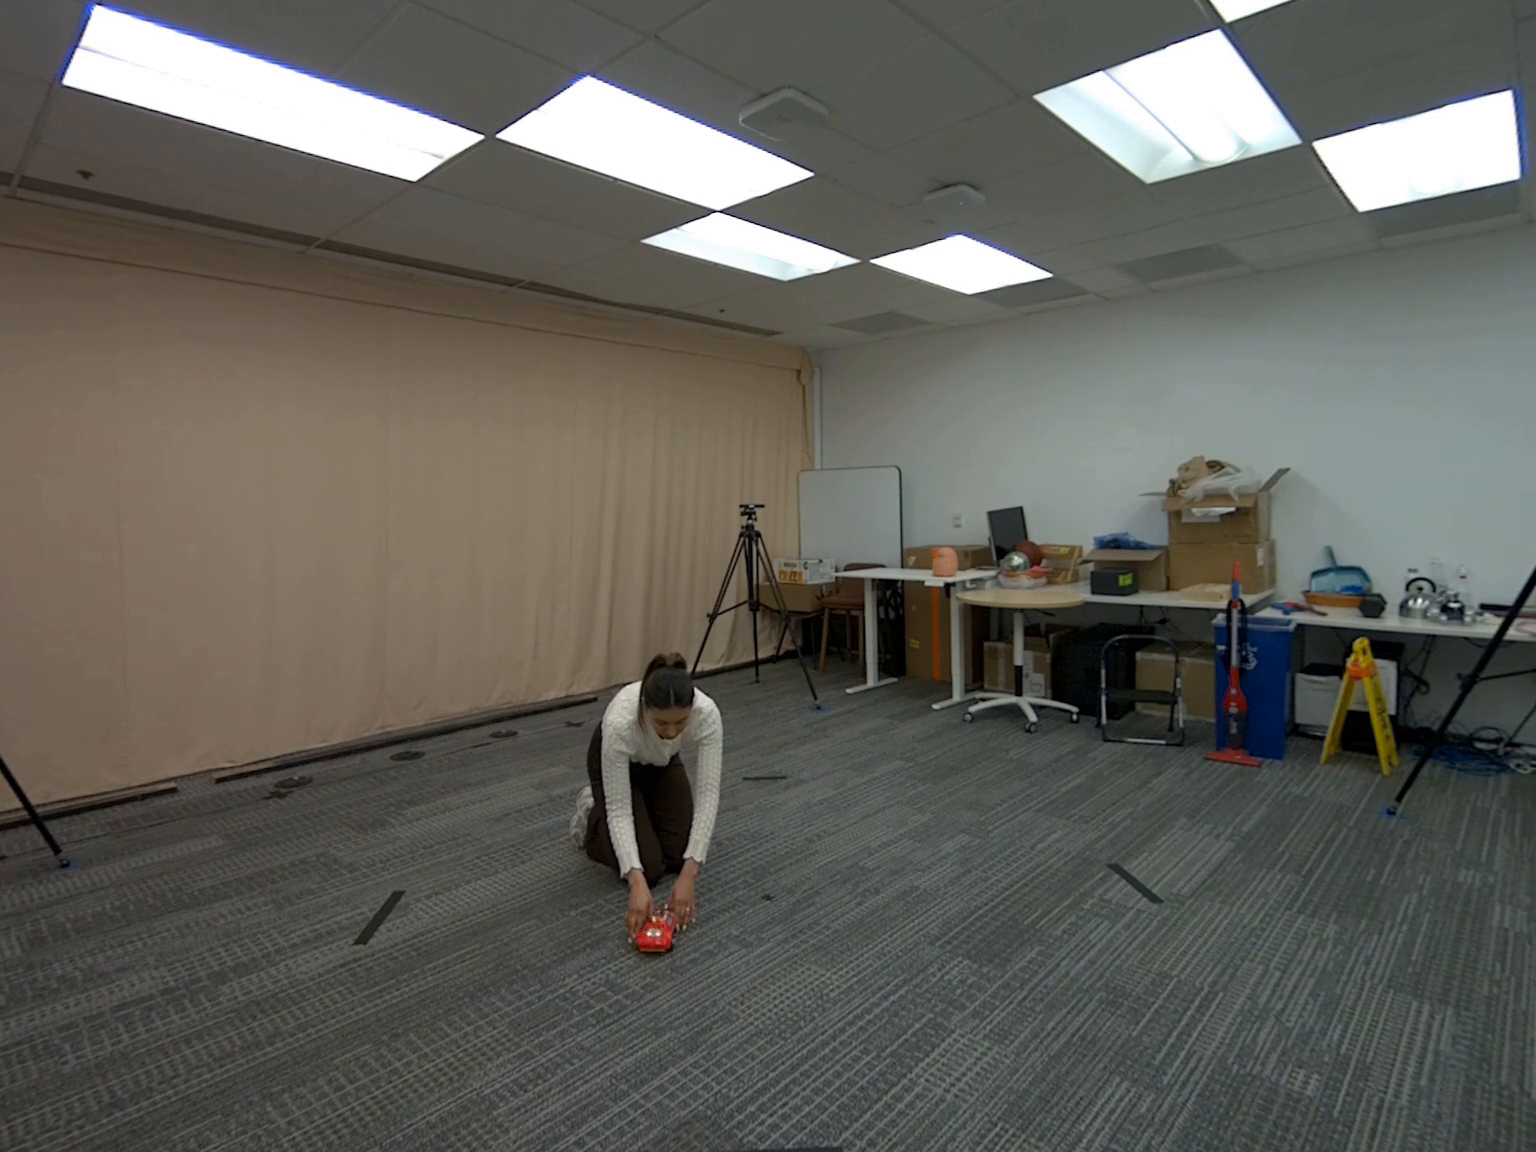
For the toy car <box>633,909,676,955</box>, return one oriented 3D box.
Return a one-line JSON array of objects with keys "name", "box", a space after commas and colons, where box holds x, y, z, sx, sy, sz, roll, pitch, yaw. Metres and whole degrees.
[{"name": "toy car", "box": [-0.350, 1.134, 2.699, 0.131, 0.083, 0.251, 2, -6, 7]}]
